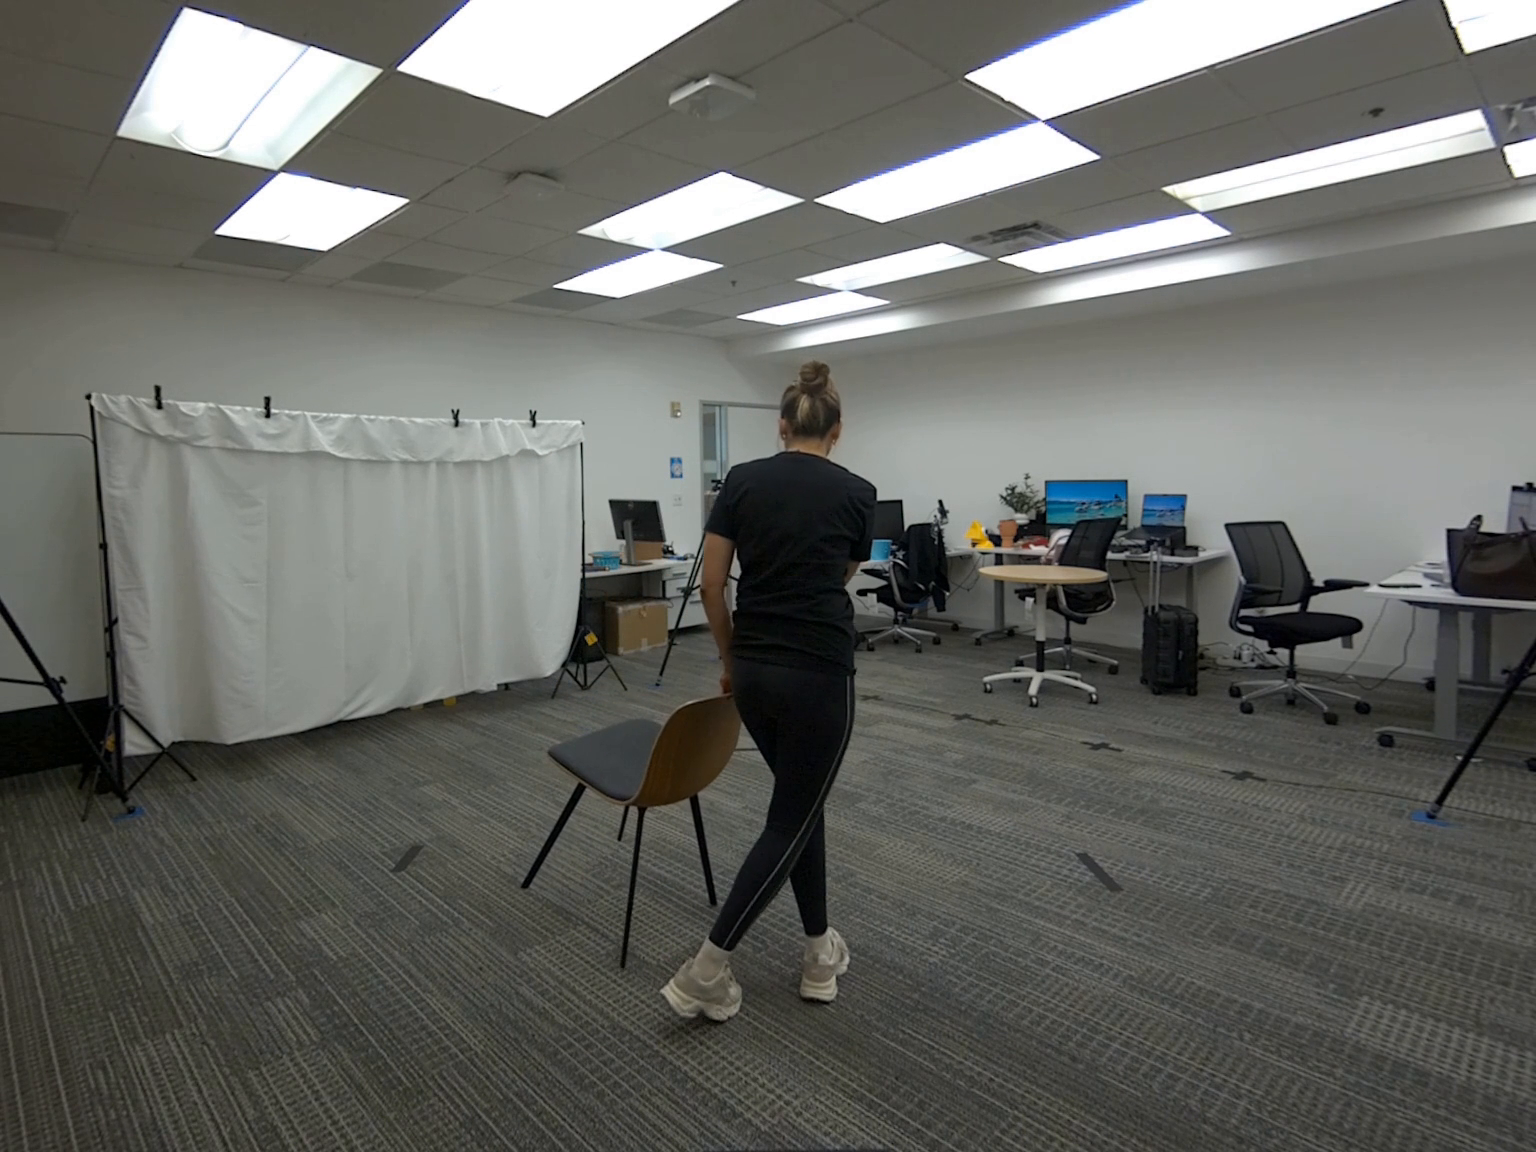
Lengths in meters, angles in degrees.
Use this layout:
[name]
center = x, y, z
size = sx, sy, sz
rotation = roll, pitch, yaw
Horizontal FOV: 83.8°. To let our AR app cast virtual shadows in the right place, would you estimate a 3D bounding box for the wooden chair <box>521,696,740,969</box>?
[wooden chair]
center = -0.395, 0.634, 2.672
size = 0.541, 0.869, 0.466
rotation = 25, 19, 32
